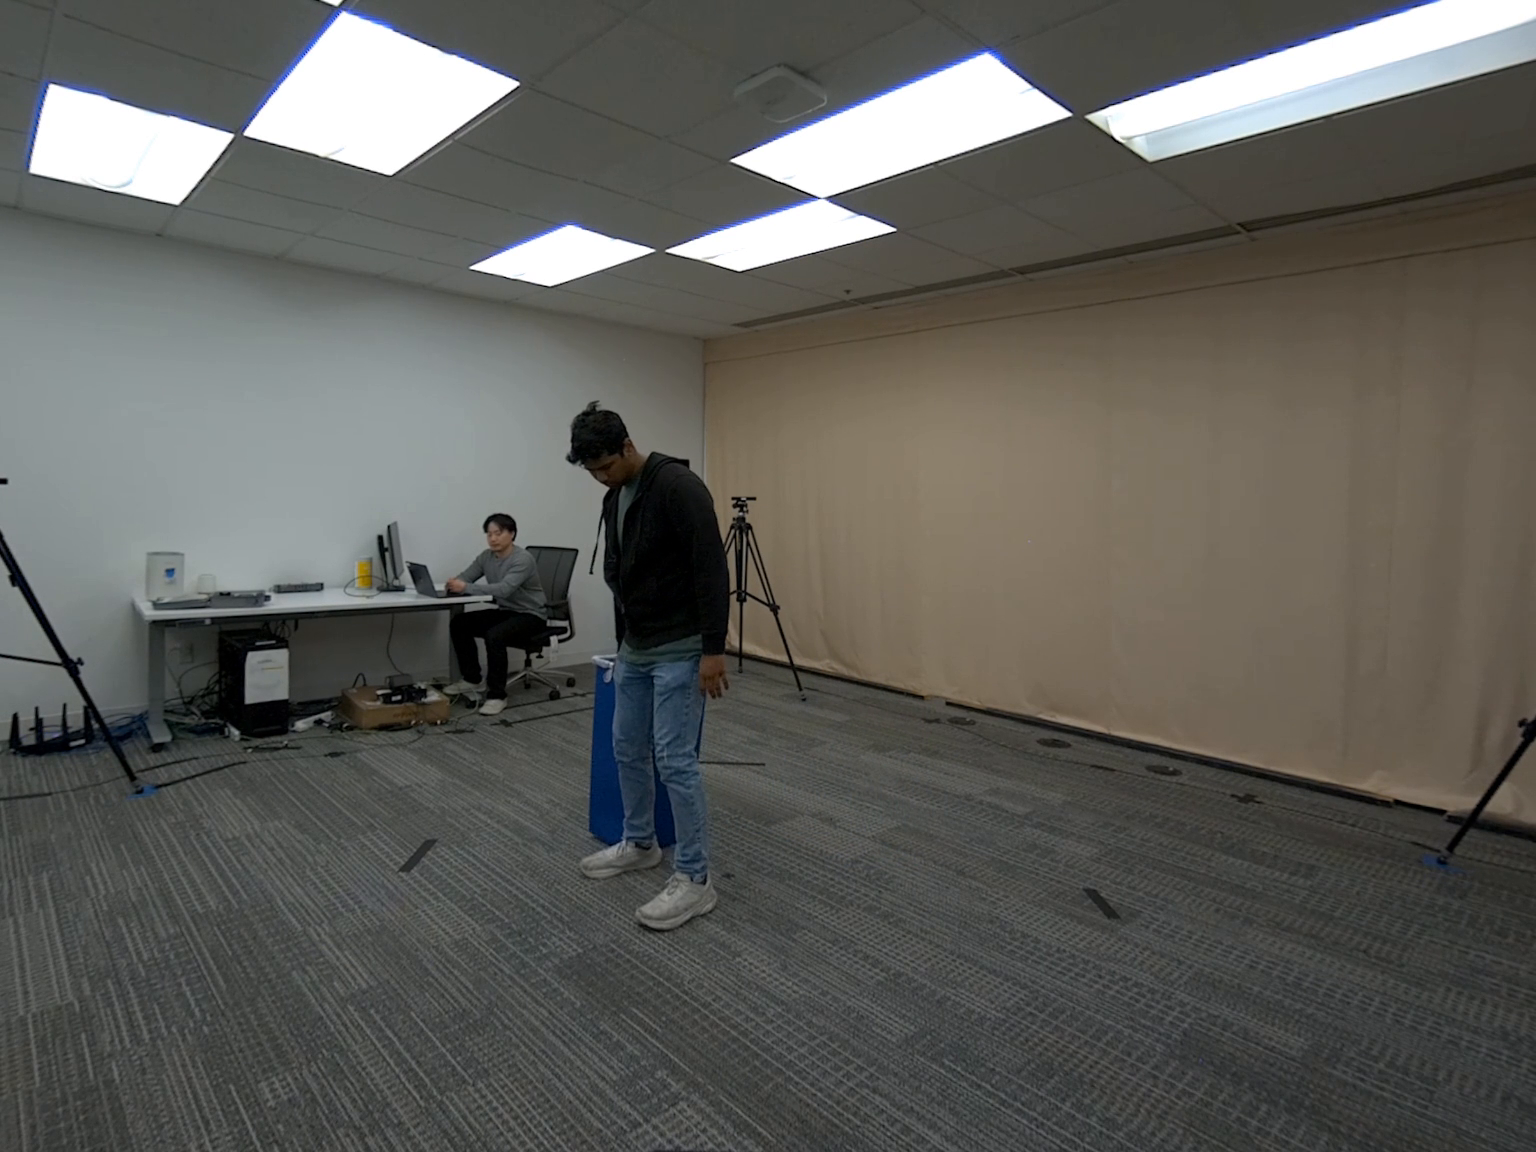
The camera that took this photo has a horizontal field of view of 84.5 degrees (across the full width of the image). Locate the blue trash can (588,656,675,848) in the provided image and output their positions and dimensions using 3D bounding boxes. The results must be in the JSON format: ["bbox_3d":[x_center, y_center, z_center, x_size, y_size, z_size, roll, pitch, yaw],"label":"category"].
[{"bbox_3d":[-0.491,0.706,3.425,0.383,0.713,0.369,6,2,39],"label":"blue trash can"}]
